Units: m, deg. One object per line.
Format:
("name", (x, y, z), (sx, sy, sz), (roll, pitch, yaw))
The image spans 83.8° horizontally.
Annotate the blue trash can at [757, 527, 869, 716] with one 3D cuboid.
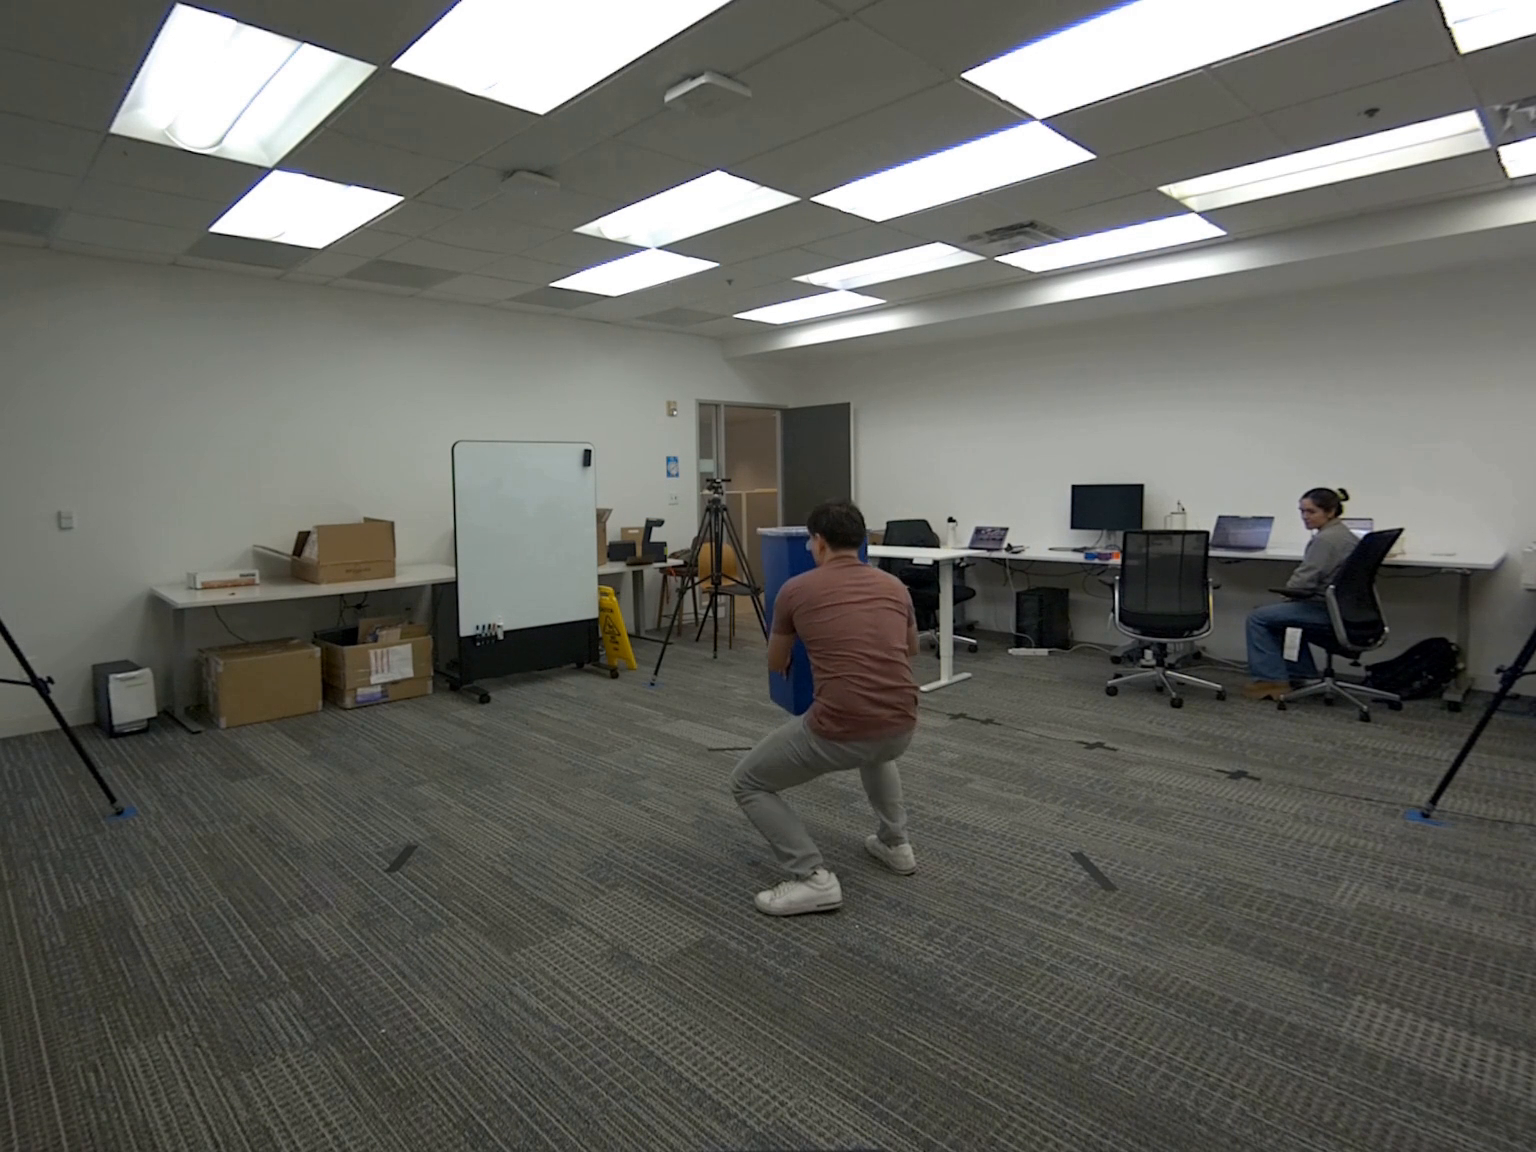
("blue trash can", (0.183, 0.163, 3.443), (0.372, 0.712, 0.381), (-2, 3, -18))
